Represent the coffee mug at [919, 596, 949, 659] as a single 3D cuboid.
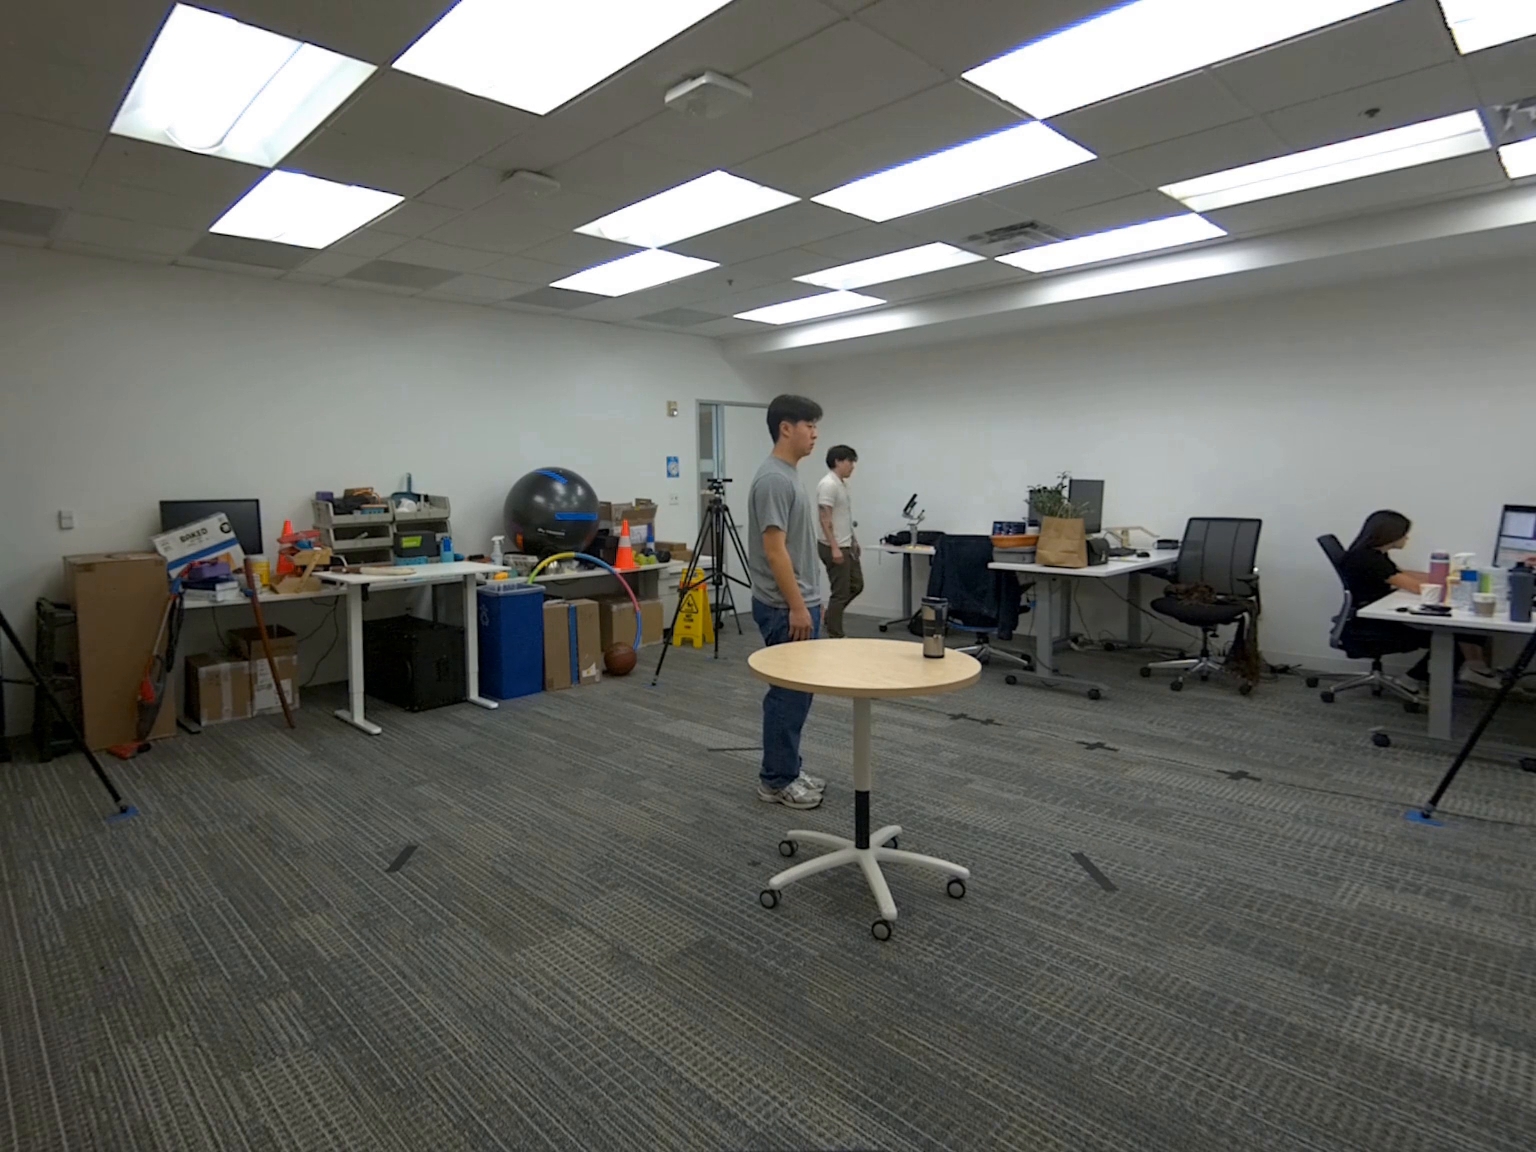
[{"bbox_3d":[0.552,0.177,2.886,0.090,0.203,0.119,4,2,28],"label":"coffee mug"}]
